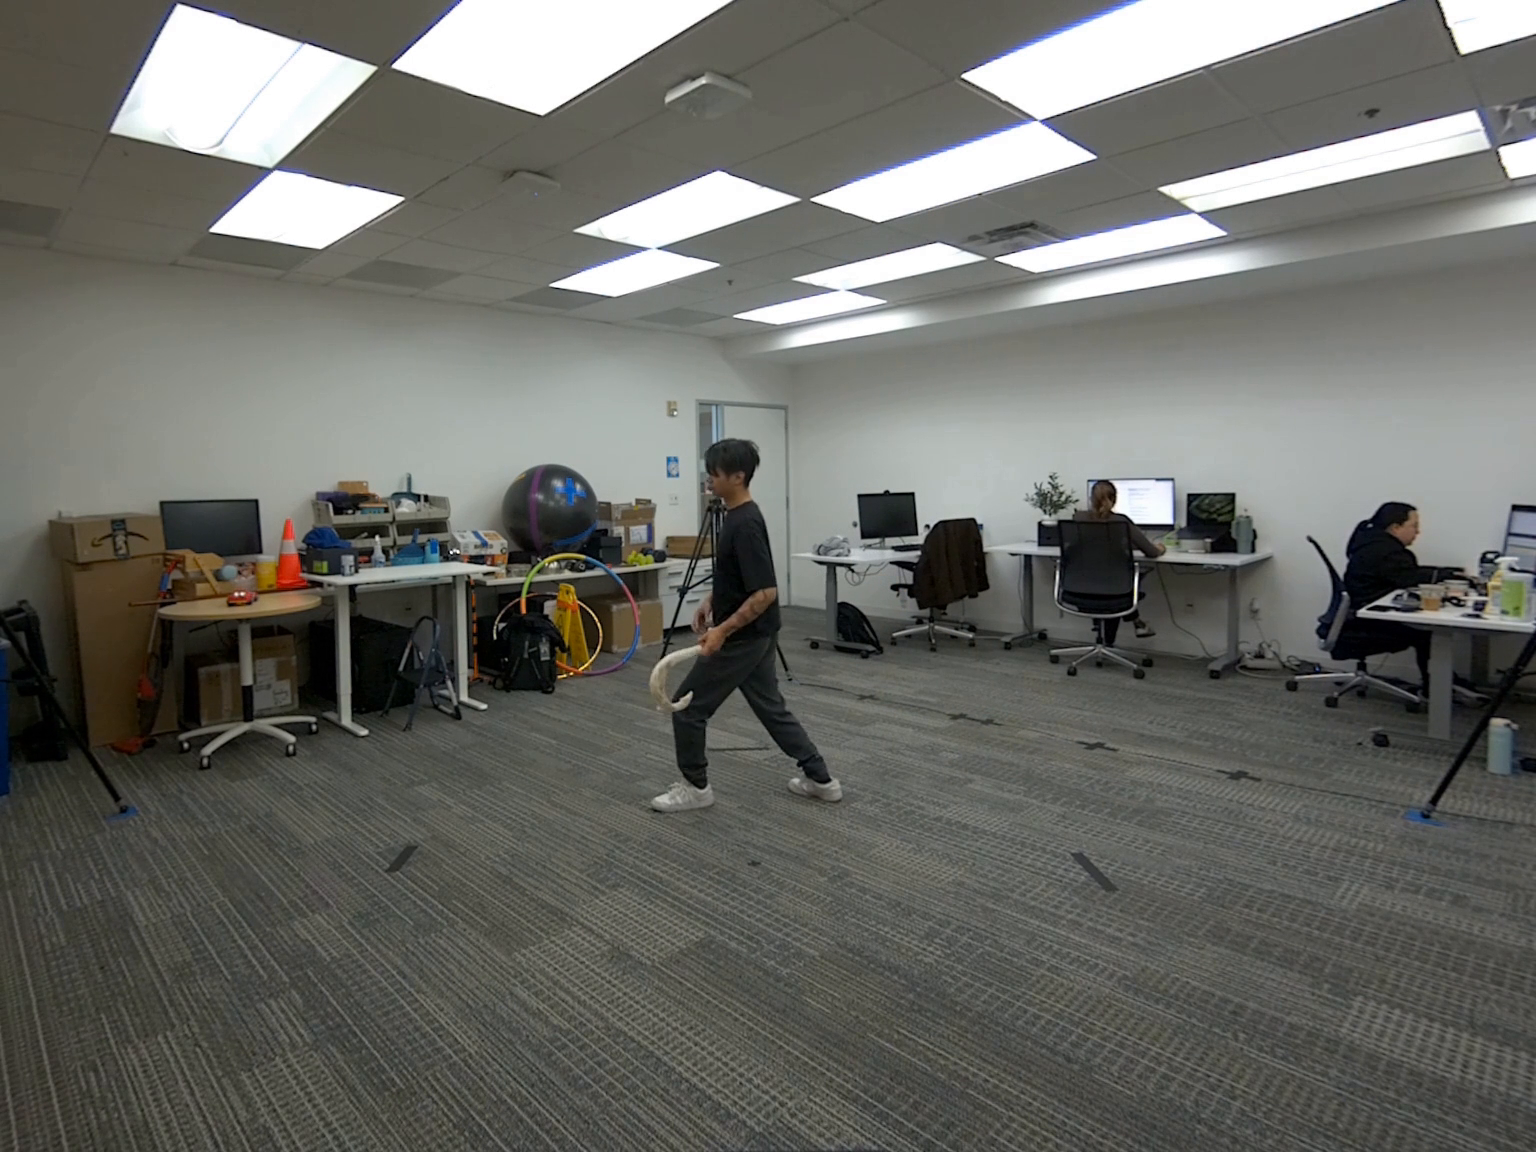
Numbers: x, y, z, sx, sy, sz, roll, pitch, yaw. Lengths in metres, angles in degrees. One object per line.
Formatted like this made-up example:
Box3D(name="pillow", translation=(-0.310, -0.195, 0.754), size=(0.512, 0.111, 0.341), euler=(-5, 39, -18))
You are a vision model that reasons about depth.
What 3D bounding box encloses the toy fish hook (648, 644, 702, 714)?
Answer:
Box3D(name="toy fish hook", translation=(-0.285, 0.345, 3.361), size=(0.050, 0.220, 0.502), euler=(5, 27, 38))
